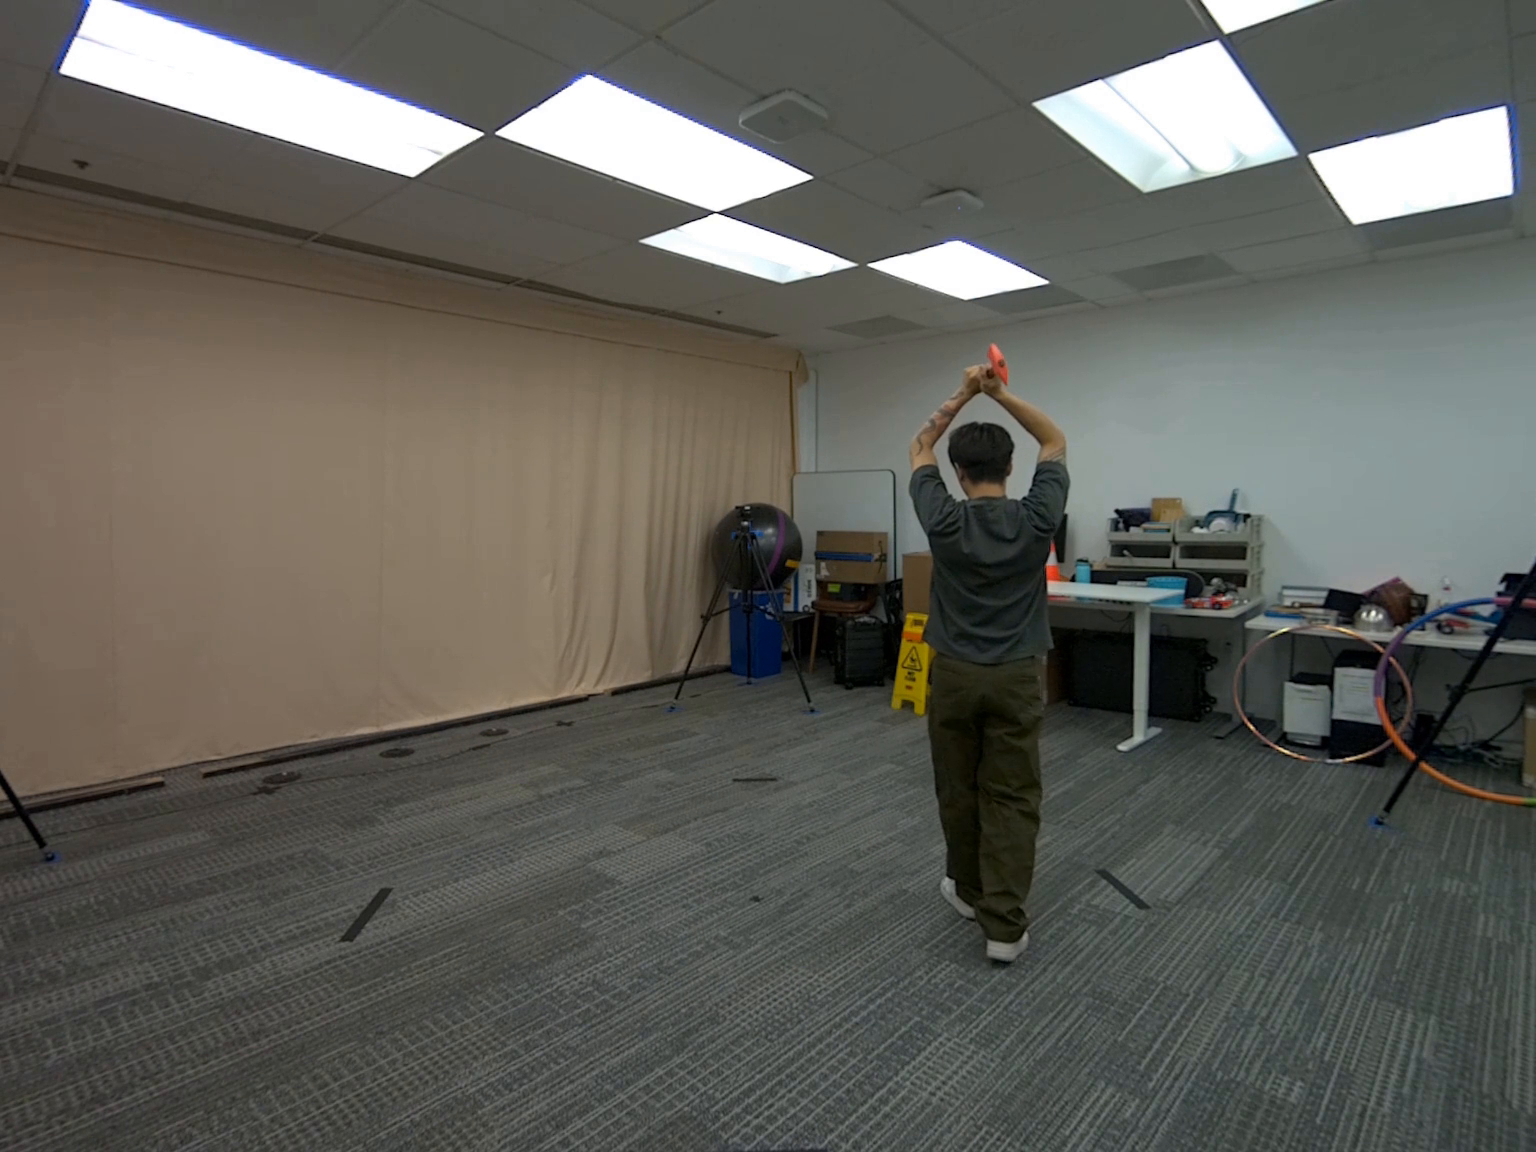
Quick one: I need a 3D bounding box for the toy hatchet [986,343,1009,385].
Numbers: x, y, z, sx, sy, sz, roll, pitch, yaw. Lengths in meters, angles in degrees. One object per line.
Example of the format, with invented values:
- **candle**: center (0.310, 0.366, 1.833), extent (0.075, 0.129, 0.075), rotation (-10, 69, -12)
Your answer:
- **toy hatchet**: center (0.705, -0.674, 2.692), extent (0.029, 0.129, 0.274), rotation (-17, 17, -2)
